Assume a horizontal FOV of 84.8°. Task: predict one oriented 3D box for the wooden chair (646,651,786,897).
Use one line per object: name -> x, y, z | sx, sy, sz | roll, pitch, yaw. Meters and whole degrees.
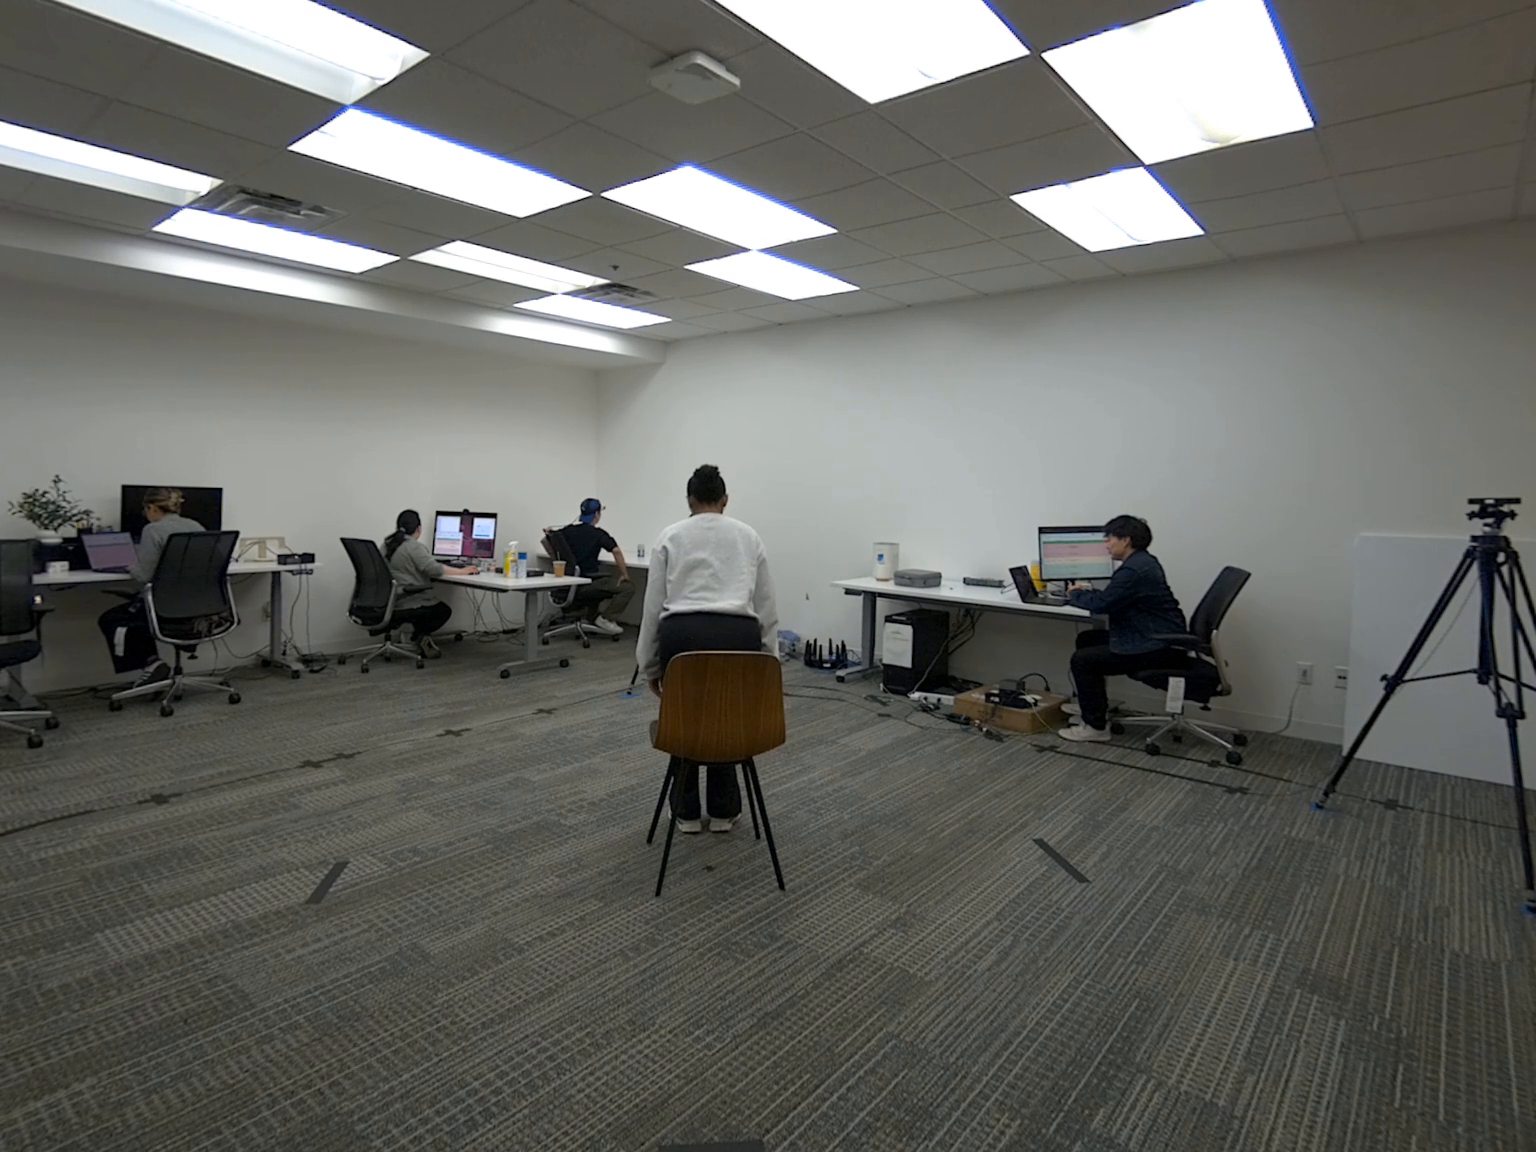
wooden chair -> -0.209, 0.635, 3.114 | 0.473, 0.872, 0.532 | 0, 7, -11
